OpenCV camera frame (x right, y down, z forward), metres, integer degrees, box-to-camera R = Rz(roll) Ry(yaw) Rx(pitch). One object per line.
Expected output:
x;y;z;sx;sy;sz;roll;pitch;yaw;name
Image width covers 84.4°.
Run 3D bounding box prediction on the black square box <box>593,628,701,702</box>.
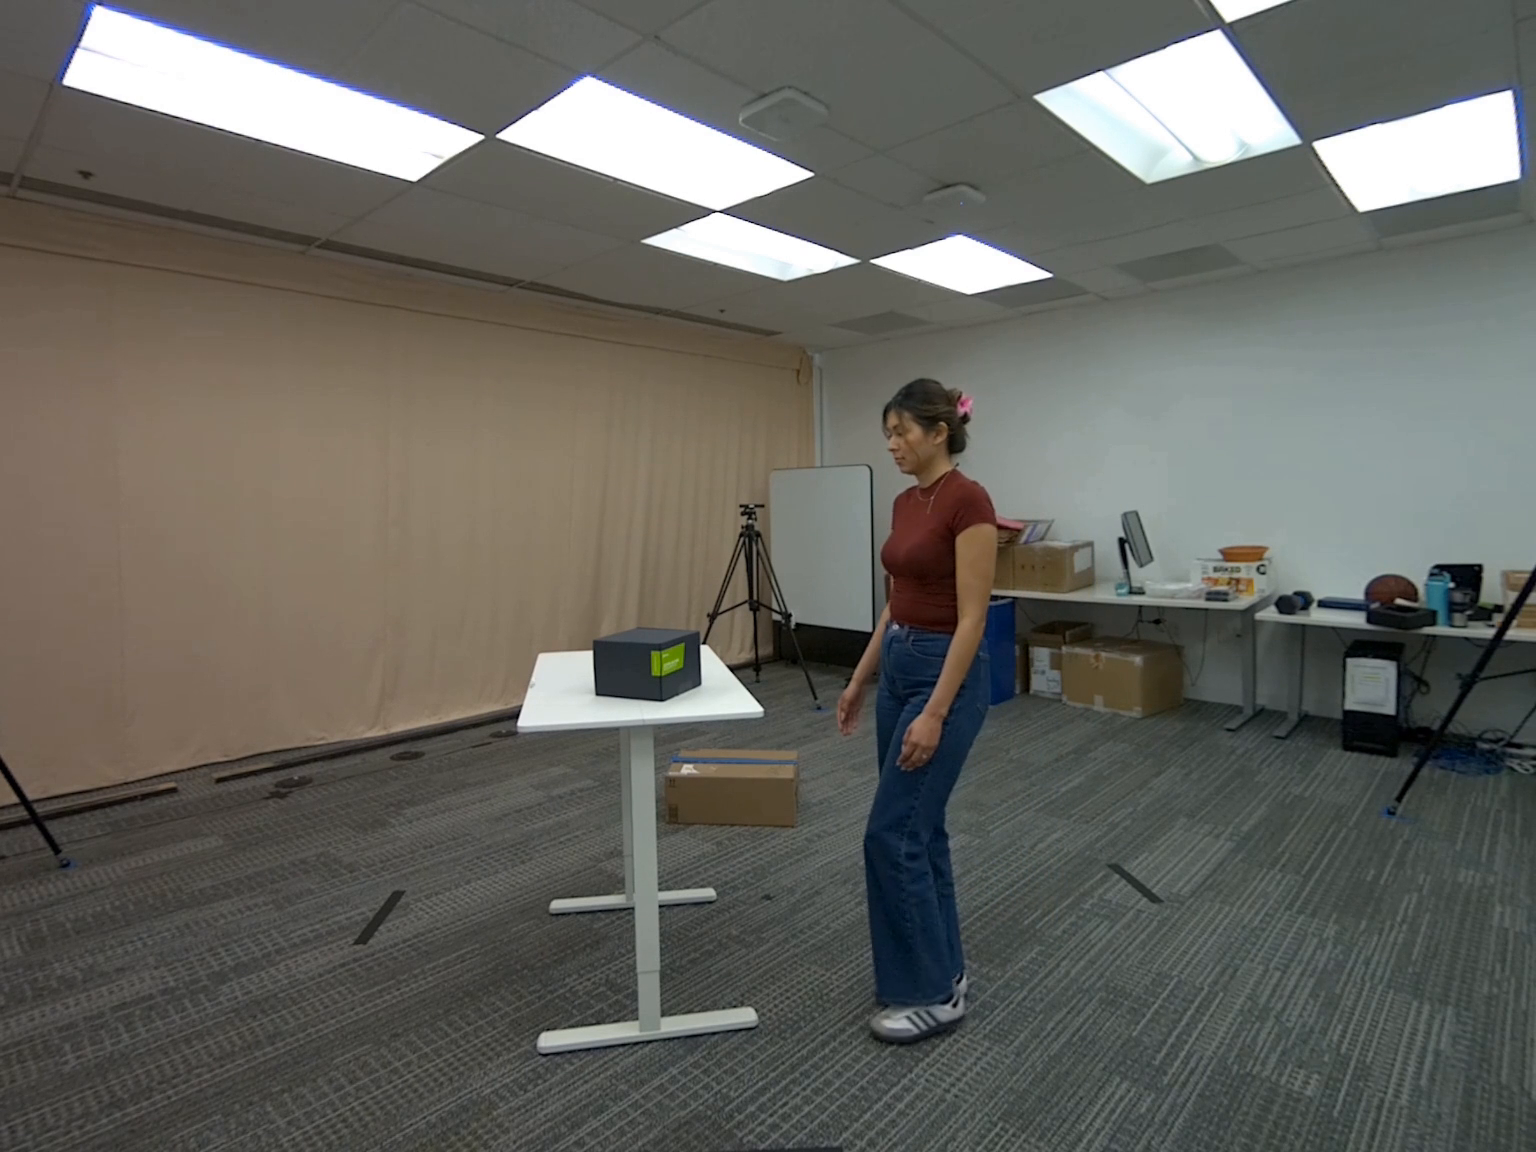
-0.333;0.242;2.340;0.222;0.155;0.223;0;5;25;black square box
